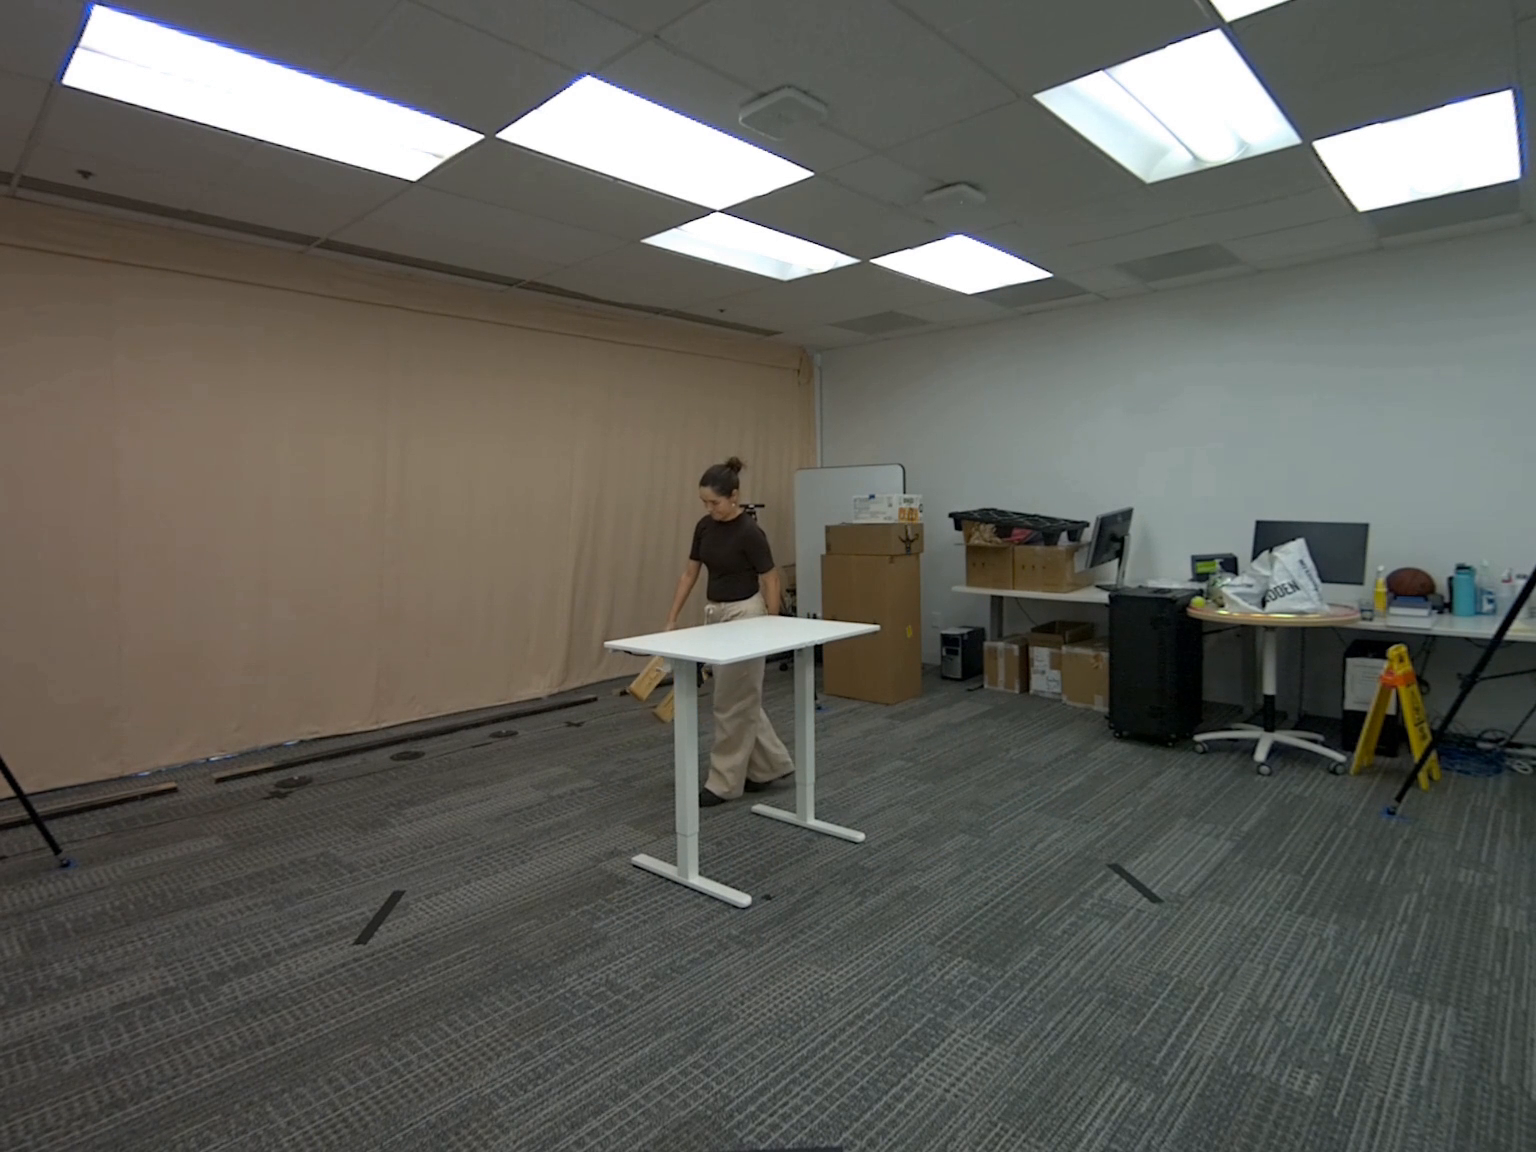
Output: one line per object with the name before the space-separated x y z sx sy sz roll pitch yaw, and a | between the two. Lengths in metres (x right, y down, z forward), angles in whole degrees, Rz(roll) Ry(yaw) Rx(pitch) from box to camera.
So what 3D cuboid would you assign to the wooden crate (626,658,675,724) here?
wooden crate | -0.500 0.512 4.112 0.272 0.323 0.304 42 -14 -5
